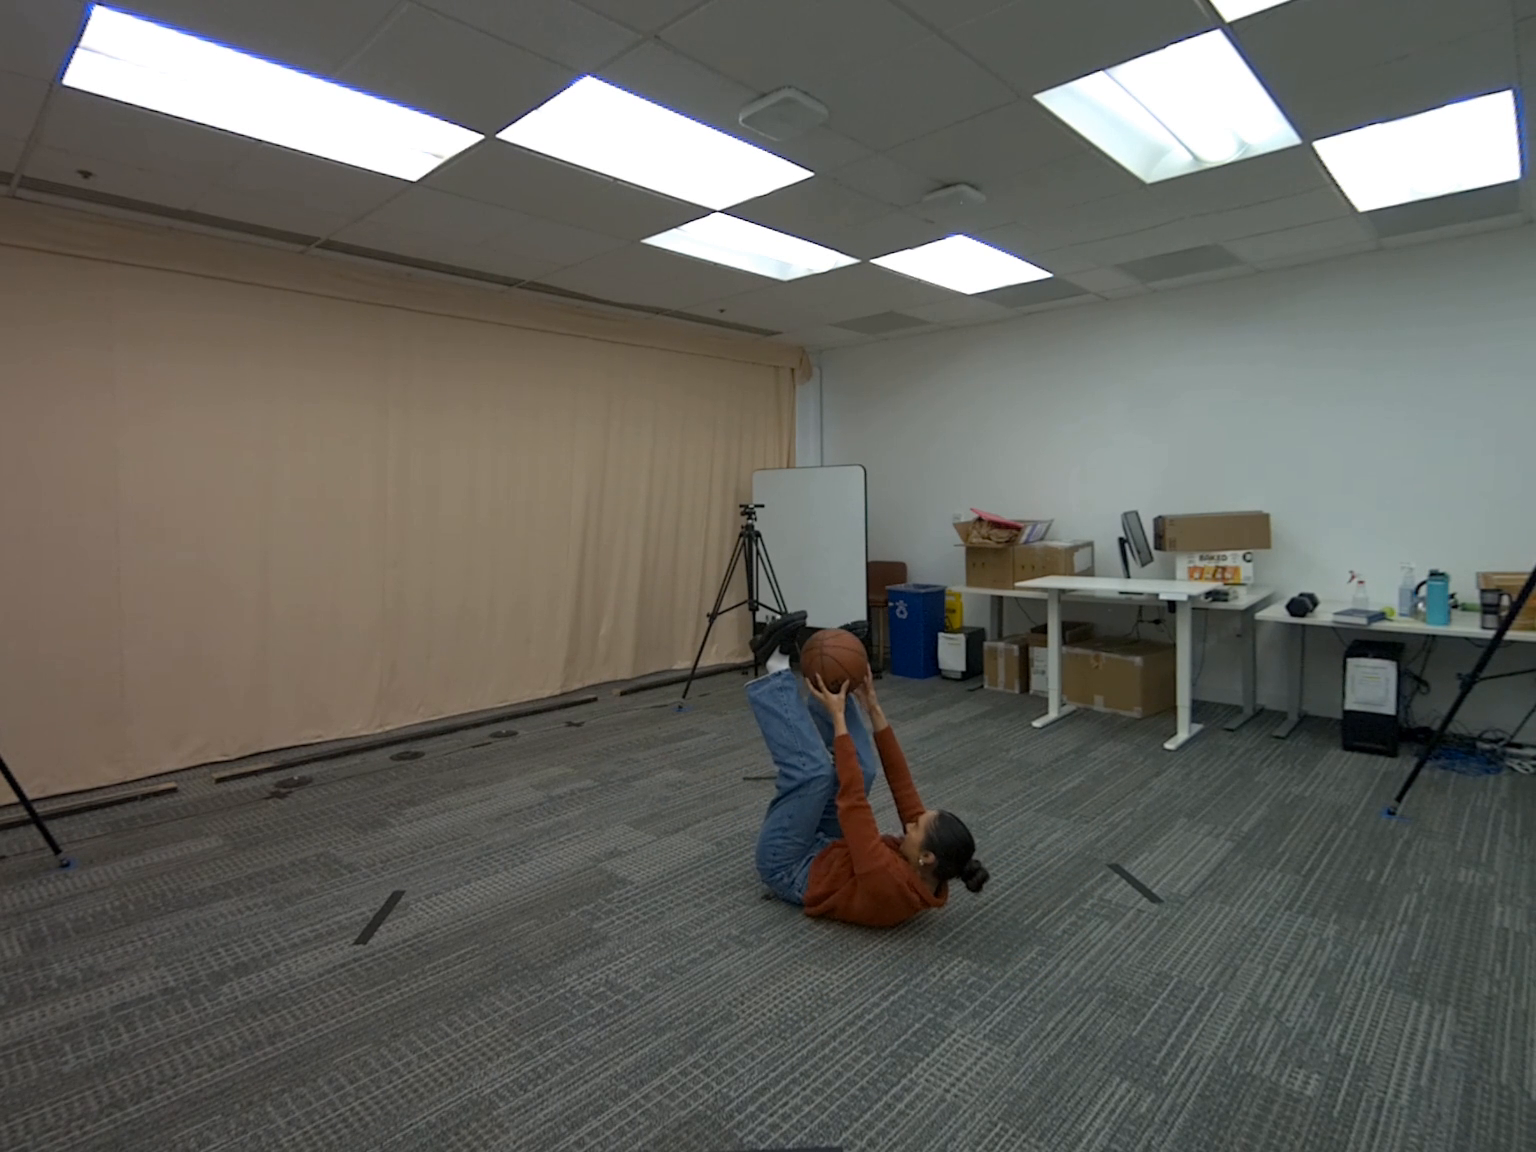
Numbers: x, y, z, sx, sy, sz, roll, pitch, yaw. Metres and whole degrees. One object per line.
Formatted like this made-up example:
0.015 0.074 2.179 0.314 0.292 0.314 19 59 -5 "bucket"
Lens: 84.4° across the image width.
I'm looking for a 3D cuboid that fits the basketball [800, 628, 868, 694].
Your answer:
0.238 0.302 2.943 0.235 0.235 0.237 2 5 -2 "basketball"
